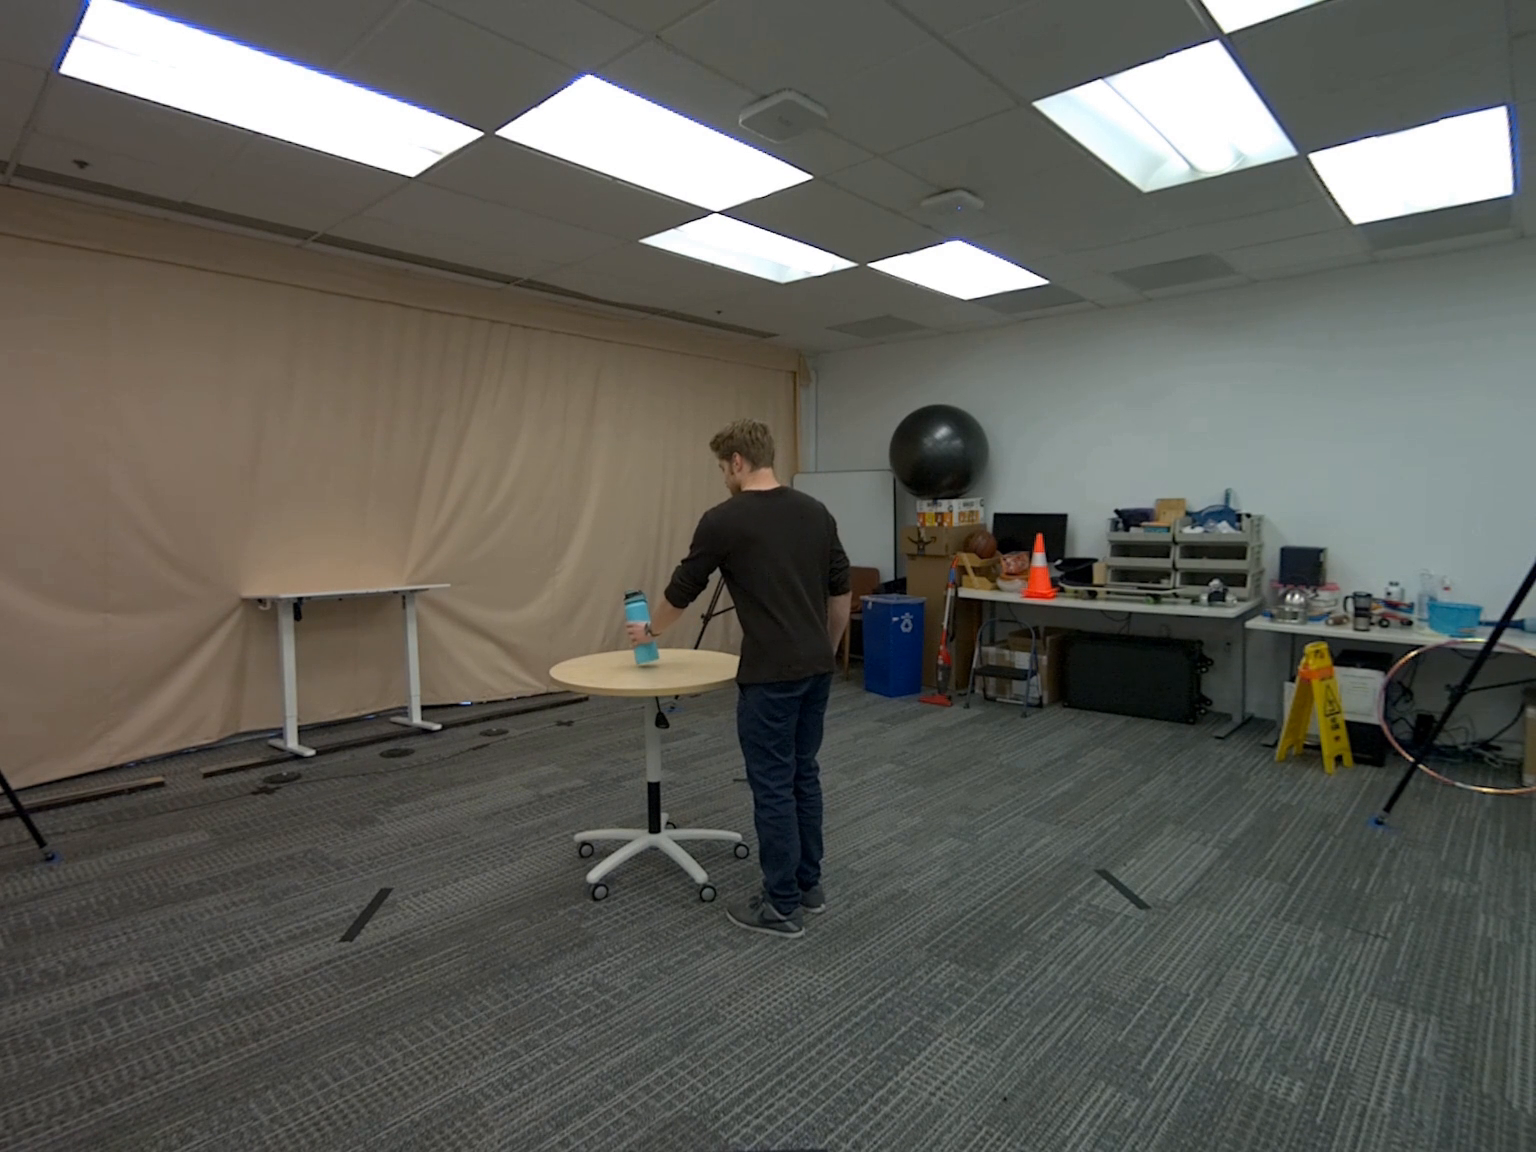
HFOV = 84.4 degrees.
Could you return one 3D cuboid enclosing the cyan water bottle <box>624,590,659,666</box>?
[{"bbox_3d":[-0.493,0.190,3.223,0.092,0.285,0.092,-13,-6,-3],"label":"cyan water bottle"}]
